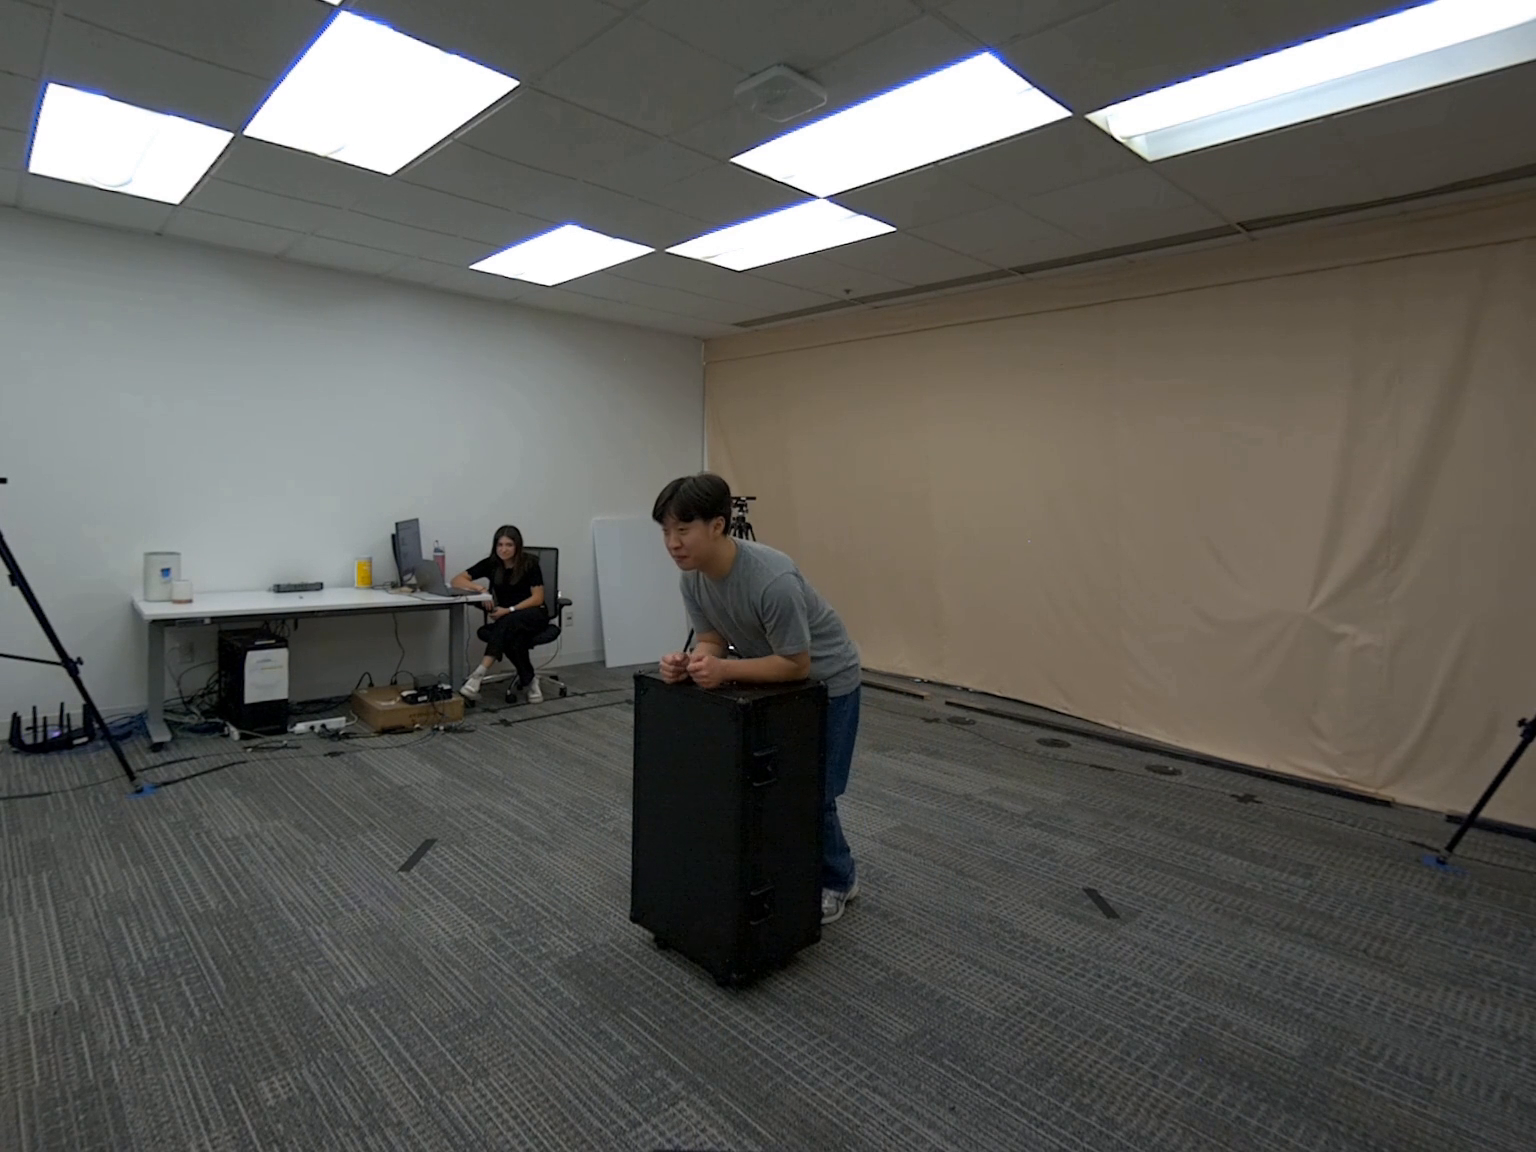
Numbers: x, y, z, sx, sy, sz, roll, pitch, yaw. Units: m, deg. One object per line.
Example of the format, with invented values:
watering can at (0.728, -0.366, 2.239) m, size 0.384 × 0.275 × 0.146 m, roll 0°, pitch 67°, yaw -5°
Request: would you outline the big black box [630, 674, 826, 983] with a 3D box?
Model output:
big black box at (-0.133, 0.732, 2.552) m, size 0.534 × 0.860 × 0.387 m, roll 4°, pitch 3°, yaw 44°
